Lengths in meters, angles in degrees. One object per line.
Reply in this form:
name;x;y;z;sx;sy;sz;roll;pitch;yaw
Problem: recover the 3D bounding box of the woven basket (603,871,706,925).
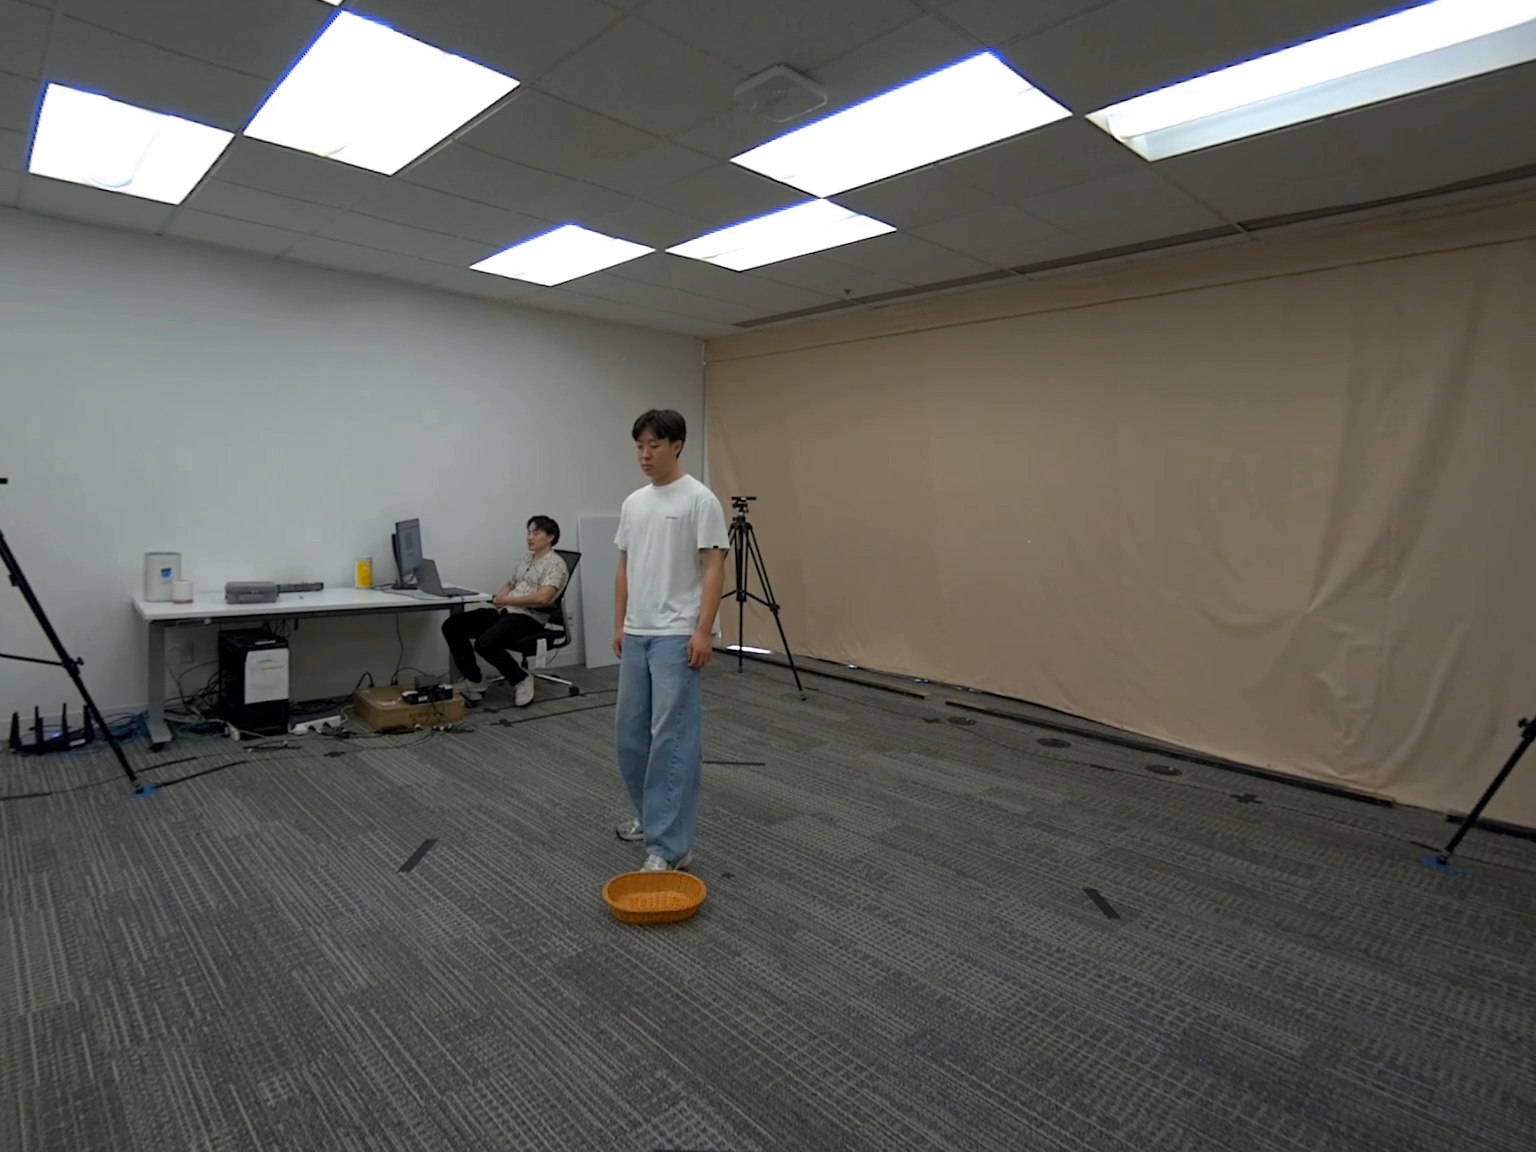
woven basket;-0.400;1.084;2.832;0.348;0.073;0.255;2;9;-7
